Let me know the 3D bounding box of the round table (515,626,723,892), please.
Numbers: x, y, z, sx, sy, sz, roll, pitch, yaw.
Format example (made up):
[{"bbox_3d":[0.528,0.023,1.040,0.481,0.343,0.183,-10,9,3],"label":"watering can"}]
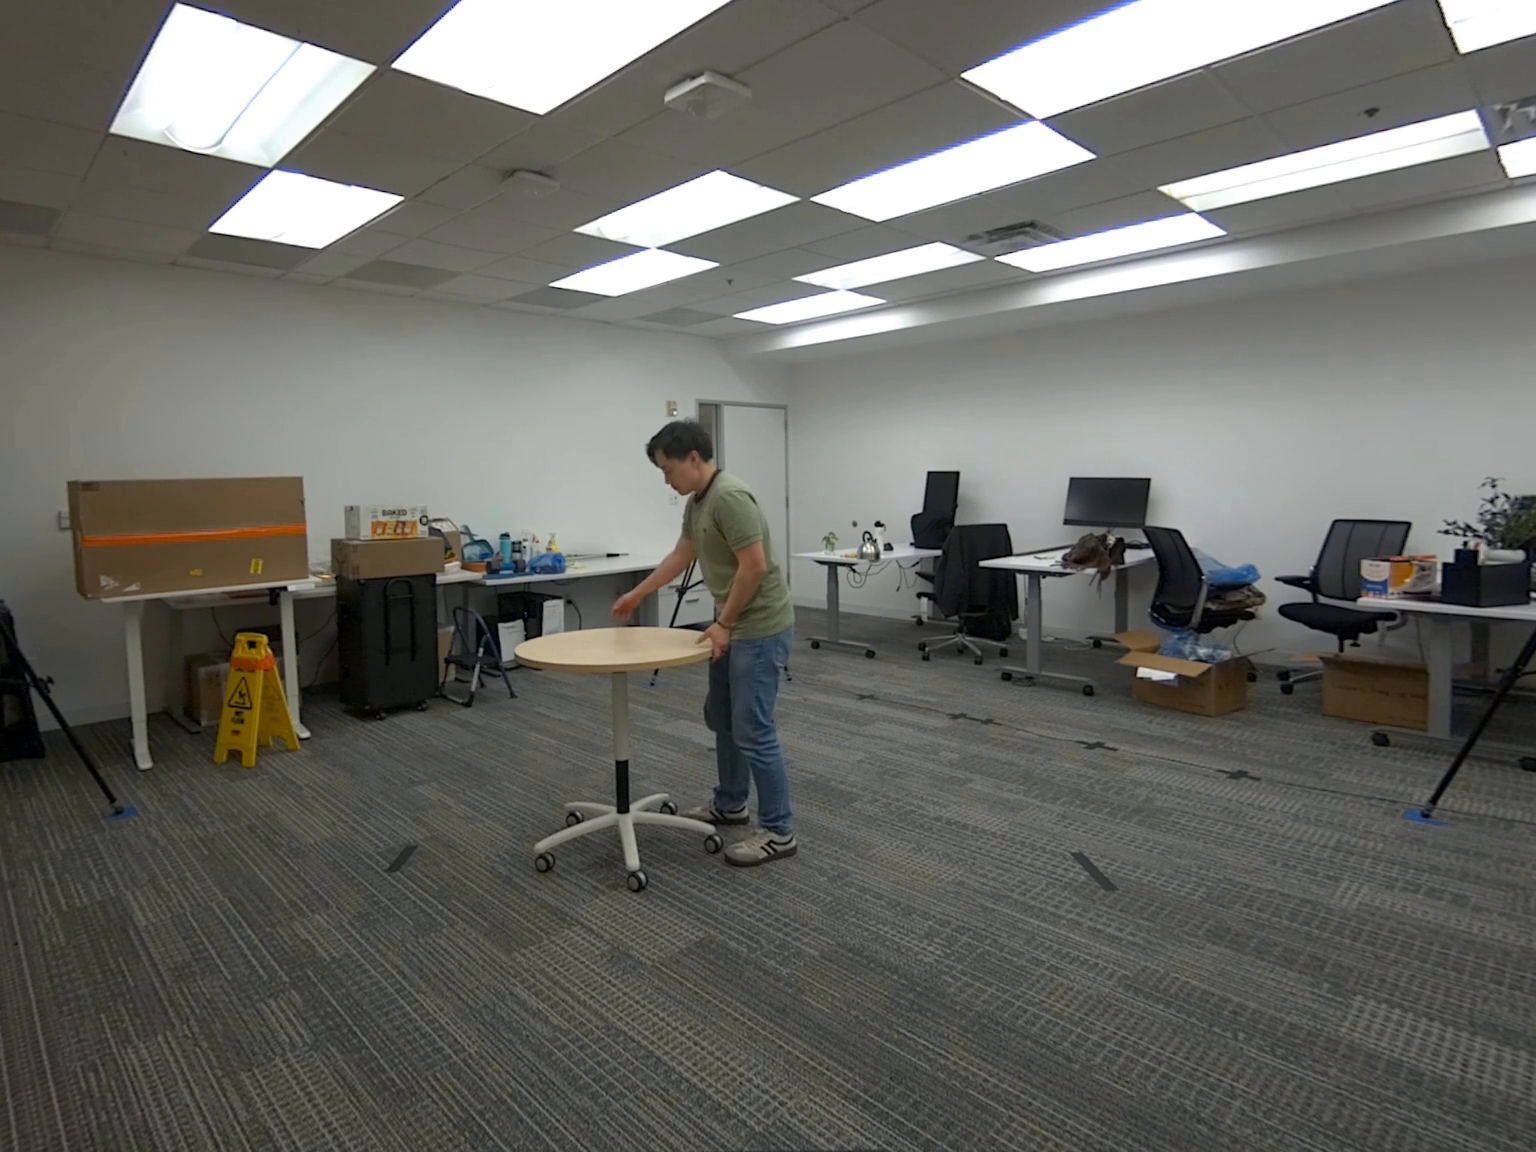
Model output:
[{"bbox_3d":[-0.556,0.650,3.236,0.763,0.791,0.767,-1,4,-2],"label":"round table"}]
